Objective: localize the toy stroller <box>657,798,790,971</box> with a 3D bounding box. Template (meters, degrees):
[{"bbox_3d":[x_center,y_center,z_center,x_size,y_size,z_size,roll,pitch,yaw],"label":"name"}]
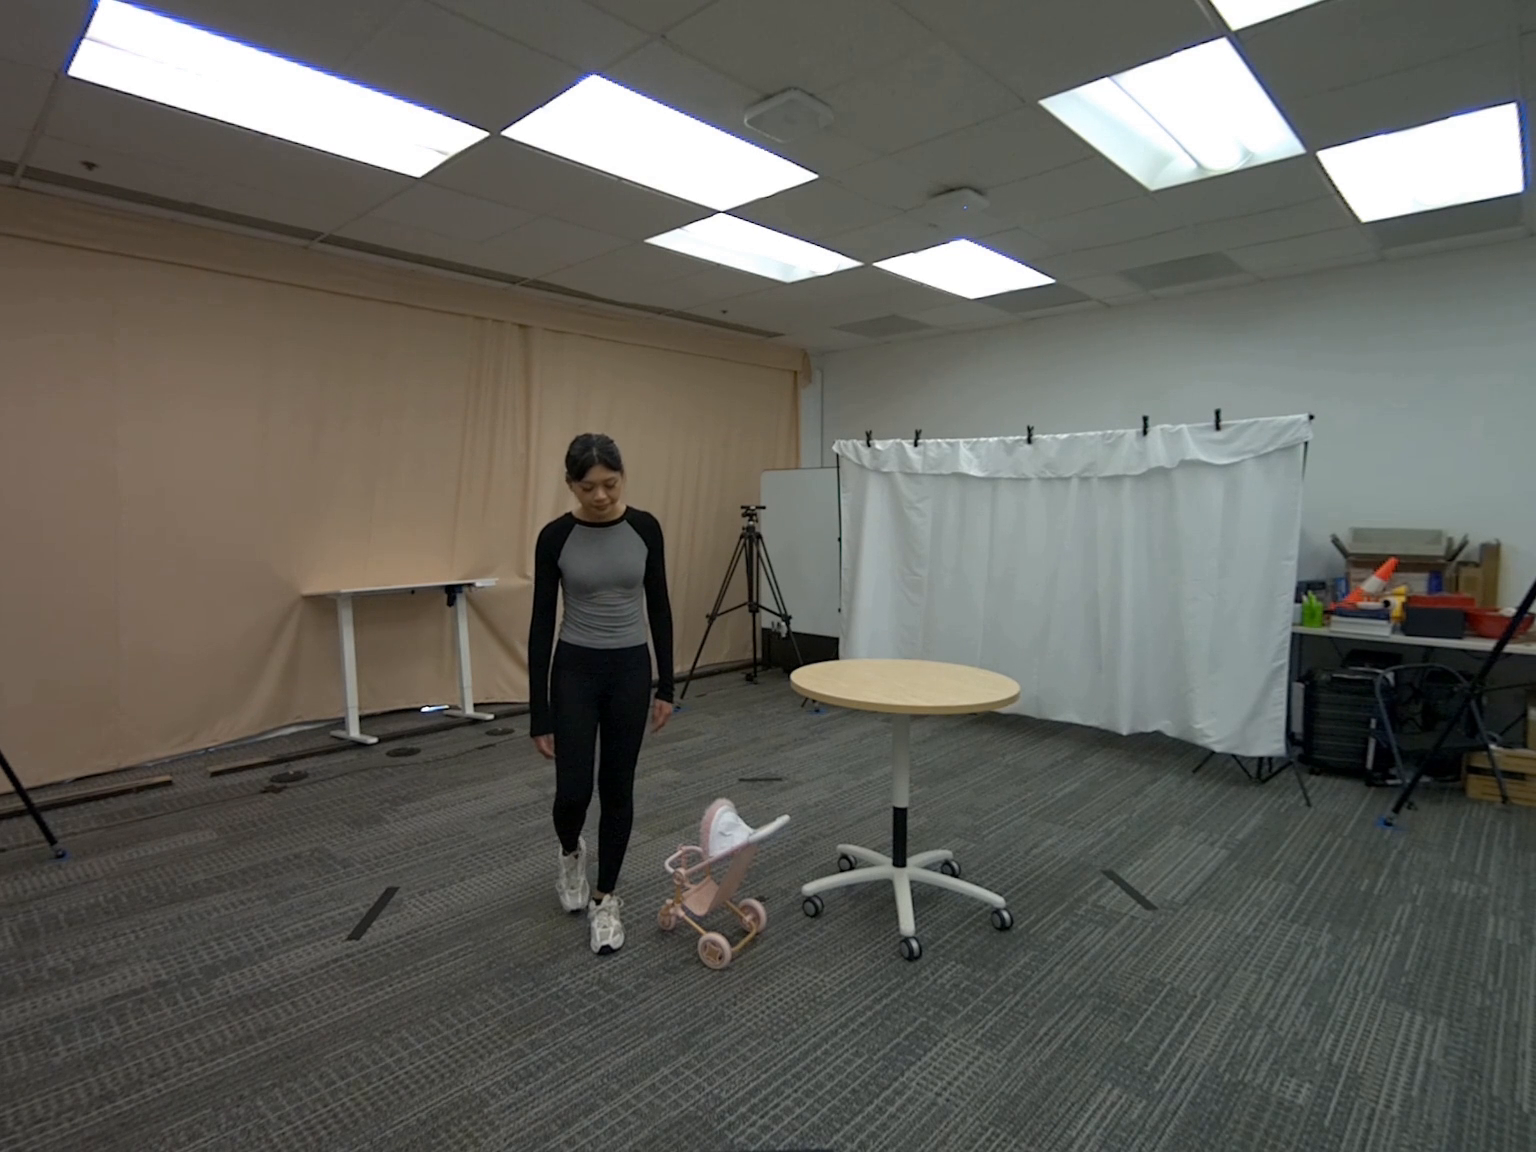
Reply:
[{"bbox_3d":[-0.161,0.945,2.663,0.352,0.533,0.273,20,12,30],"label":"toy stroller"}]
